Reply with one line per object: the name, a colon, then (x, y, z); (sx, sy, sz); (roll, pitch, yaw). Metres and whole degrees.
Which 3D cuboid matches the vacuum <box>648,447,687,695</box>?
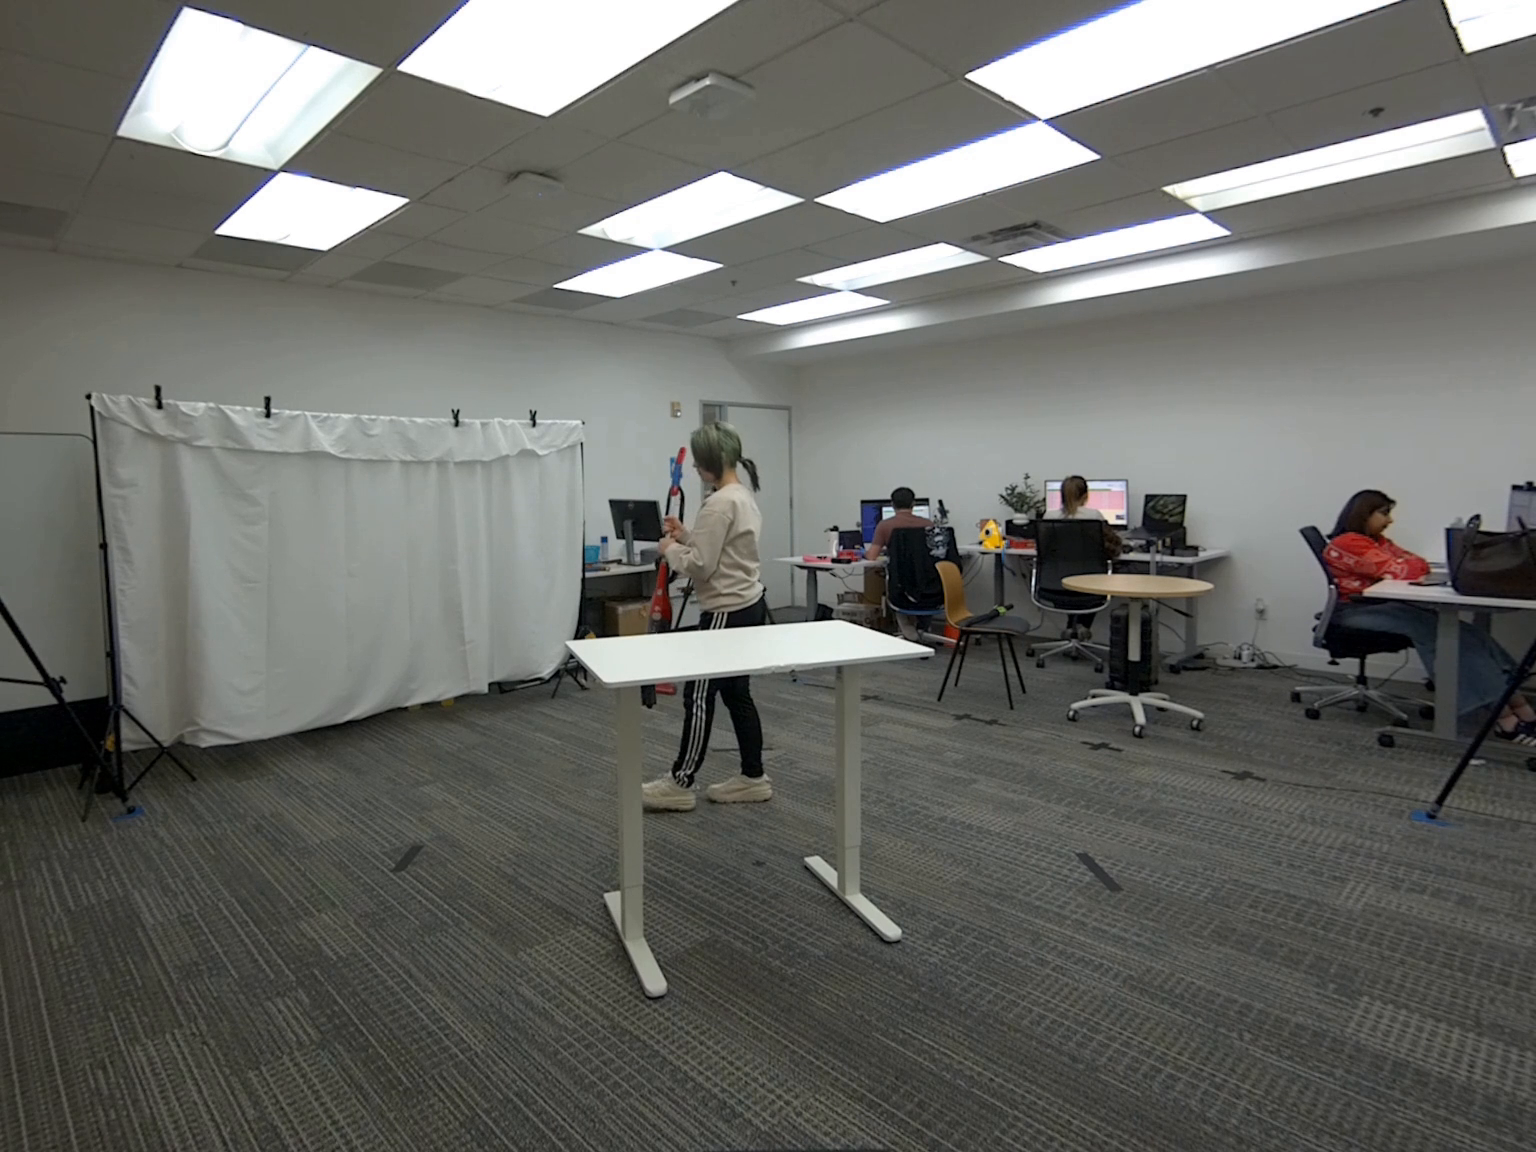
vacuum: (-0.445, -0.052, 3.757); (0.255, 1.059, 0.141); (5, -11, 9)
